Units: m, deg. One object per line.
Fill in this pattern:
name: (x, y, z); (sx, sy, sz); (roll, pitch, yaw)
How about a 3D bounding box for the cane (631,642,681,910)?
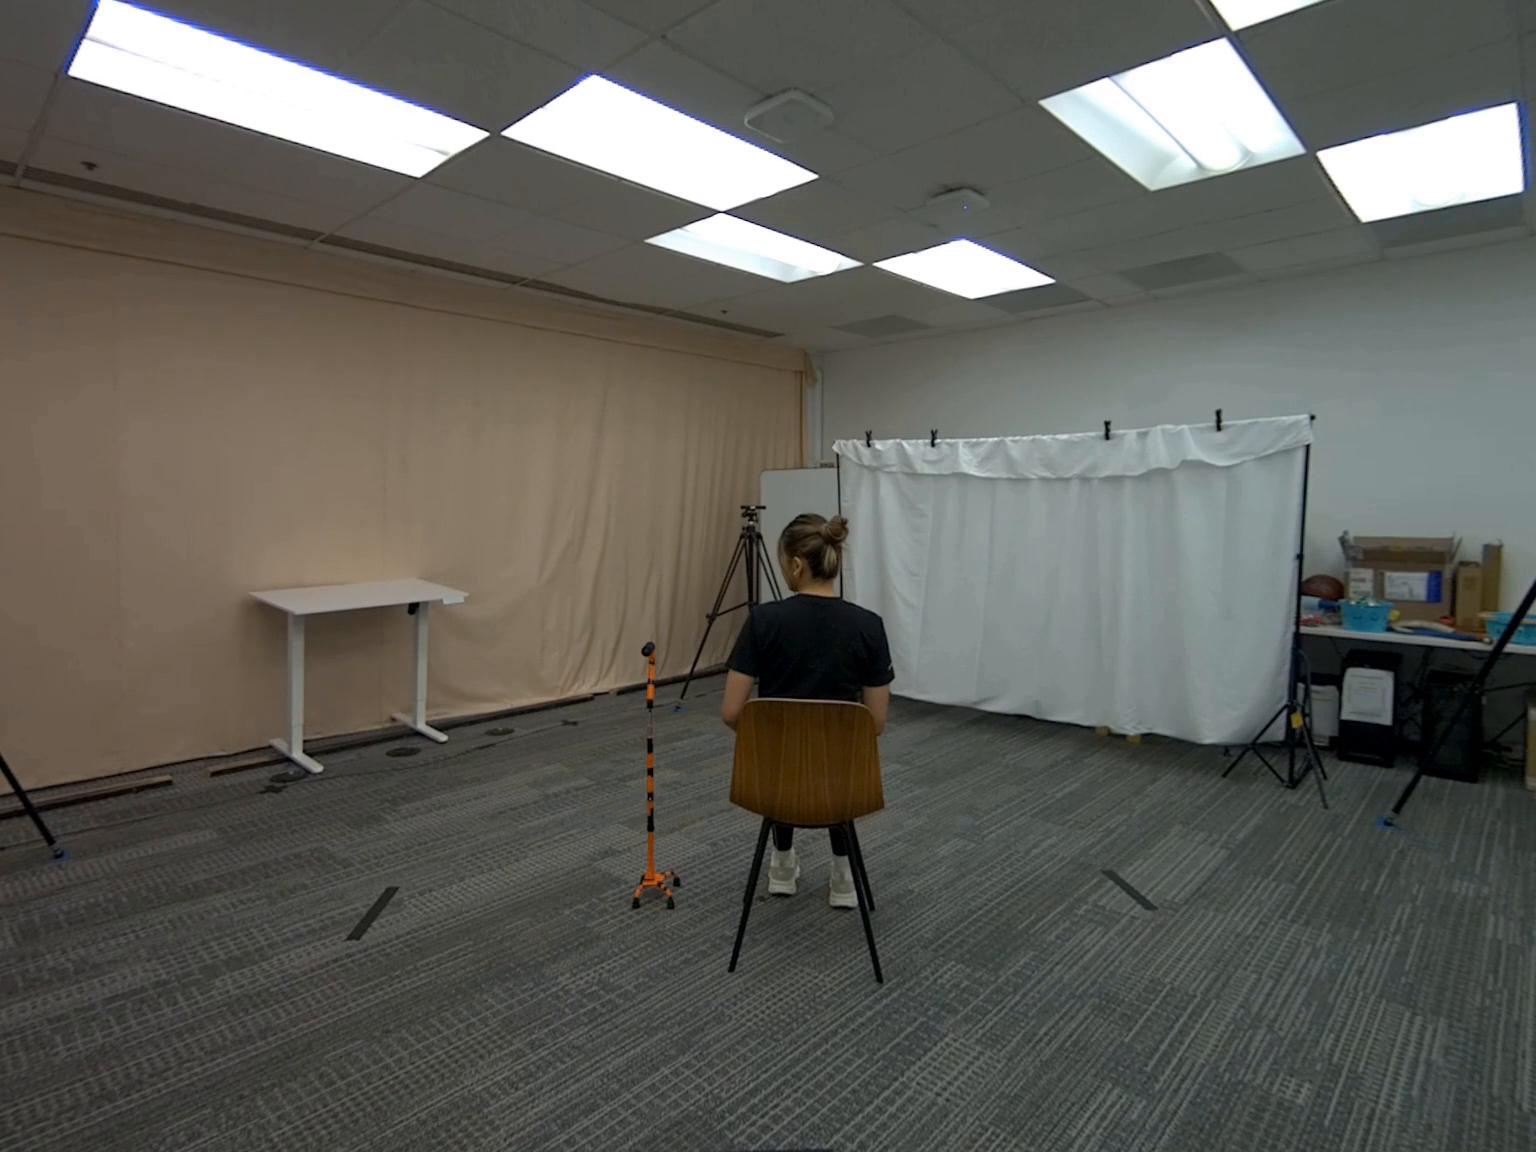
cane: (-0.403, 0.692, 2.992); (0.152, 0.907, 0.206); (0, 2, 0)
